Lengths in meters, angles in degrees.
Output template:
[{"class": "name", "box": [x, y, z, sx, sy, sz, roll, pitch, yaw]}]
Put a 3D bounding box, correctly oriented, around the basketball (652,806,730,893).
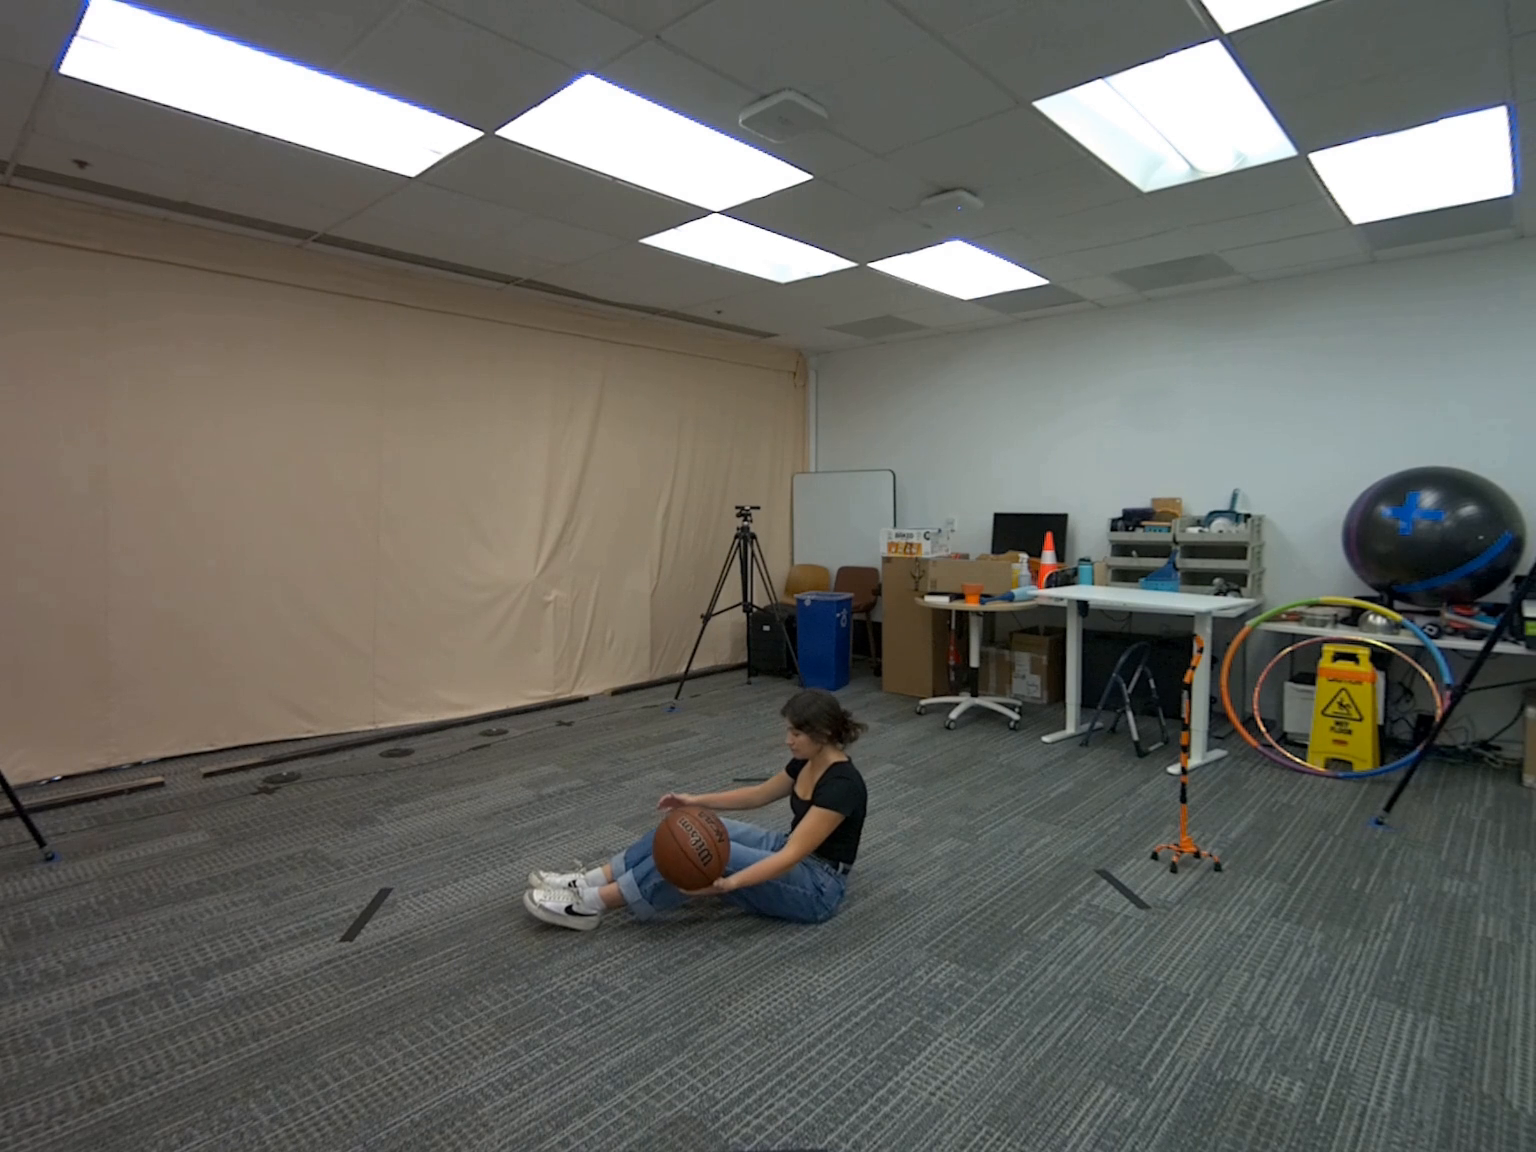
[{"class": "basketball", "box": [-0.231, 0.830, 2.560, 0.236, 0.235, 0.237, 0, 4, -2]}]
